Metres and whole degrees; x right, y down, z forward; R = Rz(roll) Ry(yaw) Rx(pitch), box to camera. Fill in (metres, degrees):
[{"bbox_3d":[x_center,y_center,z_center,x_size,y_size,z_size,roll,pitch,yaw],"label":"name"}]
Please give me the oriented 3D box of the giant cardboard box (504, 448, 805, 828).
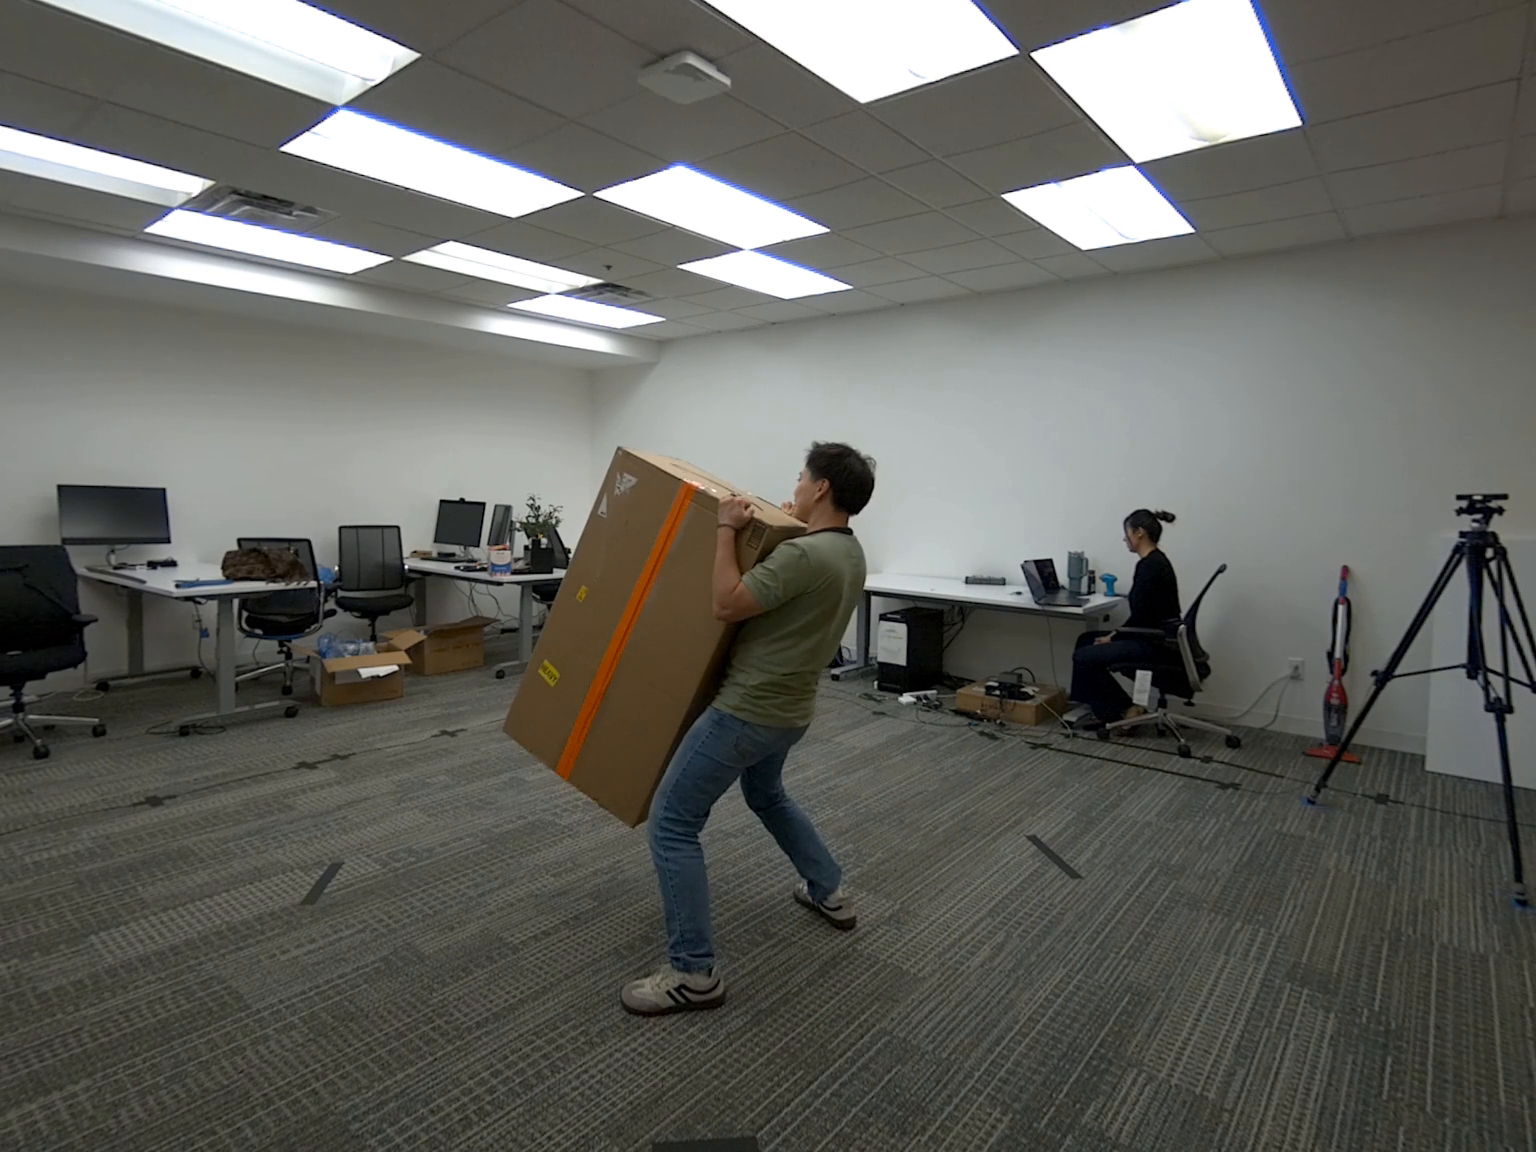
[{"bbox_3d":[-0.369,0.167,2.791,0.595,1.021,0.415,28,11,23],"label":"giant cardboard box"}]
